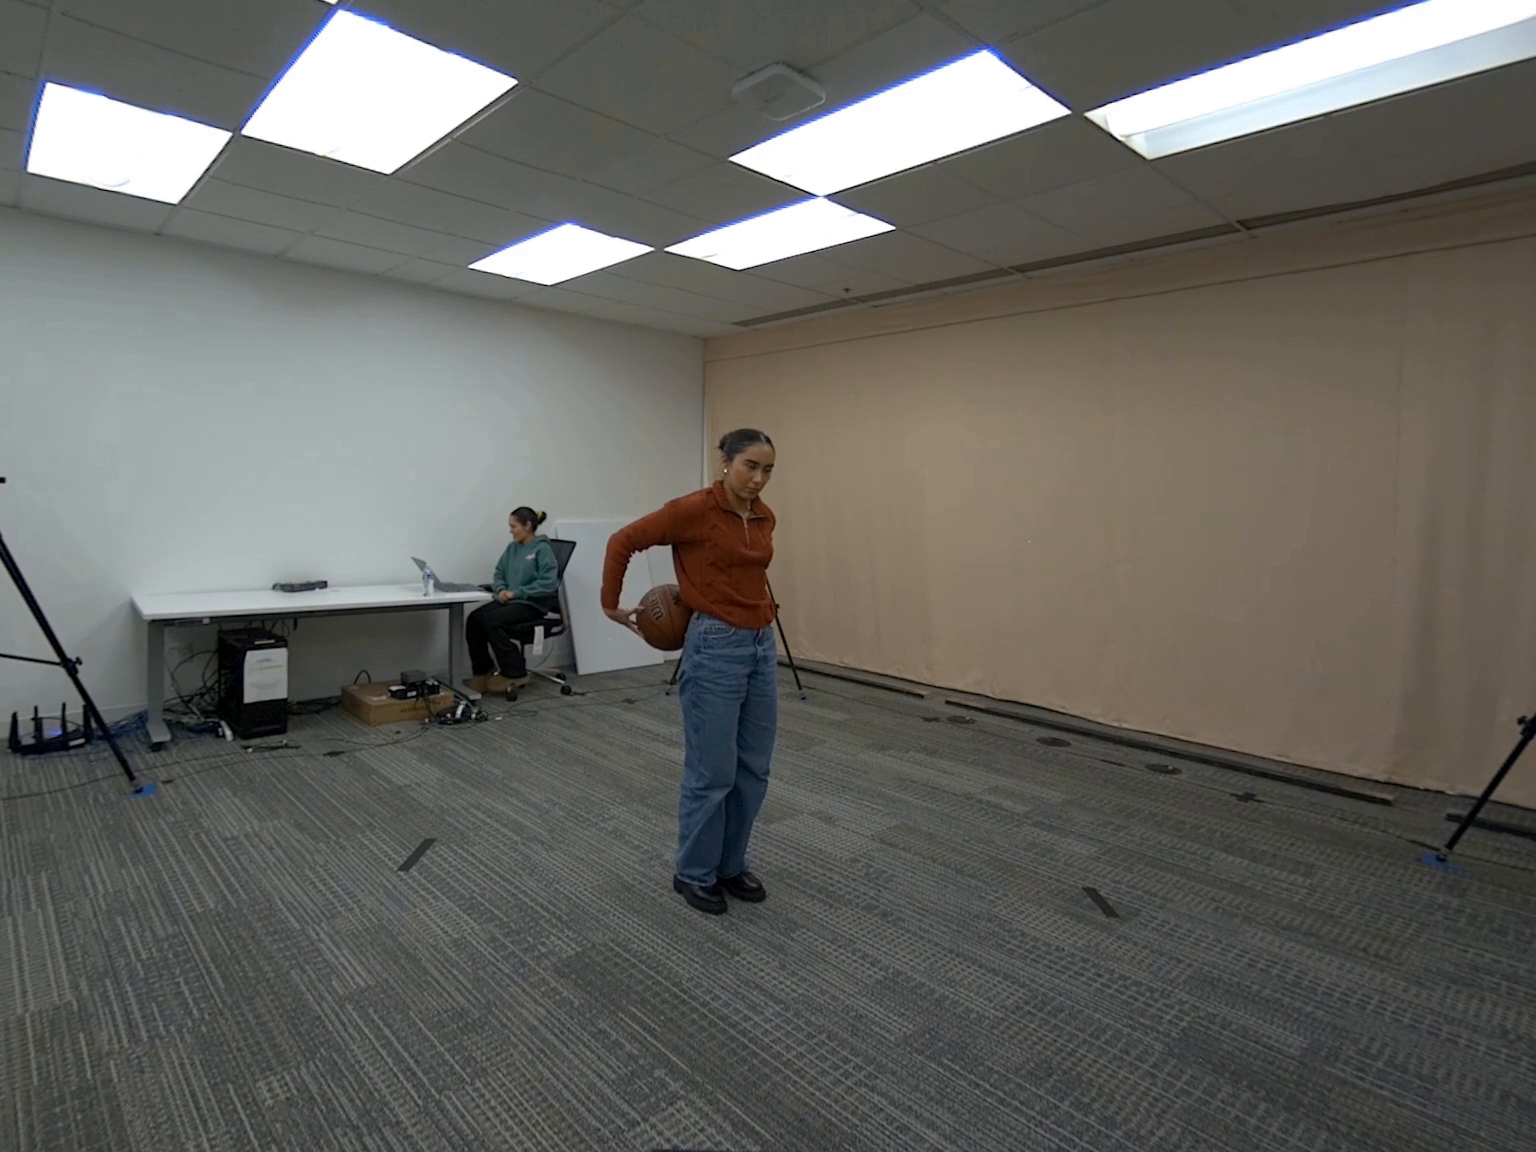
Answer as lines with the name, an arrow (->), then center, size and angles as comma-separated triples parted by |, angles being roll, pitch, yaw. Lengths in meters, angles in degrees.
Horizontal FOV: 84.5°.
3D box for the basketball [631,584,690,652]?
basketball -> -0.350, 0.144, 2.963 | 0.236, 0.235, 0.237 | 1, 4, -1
